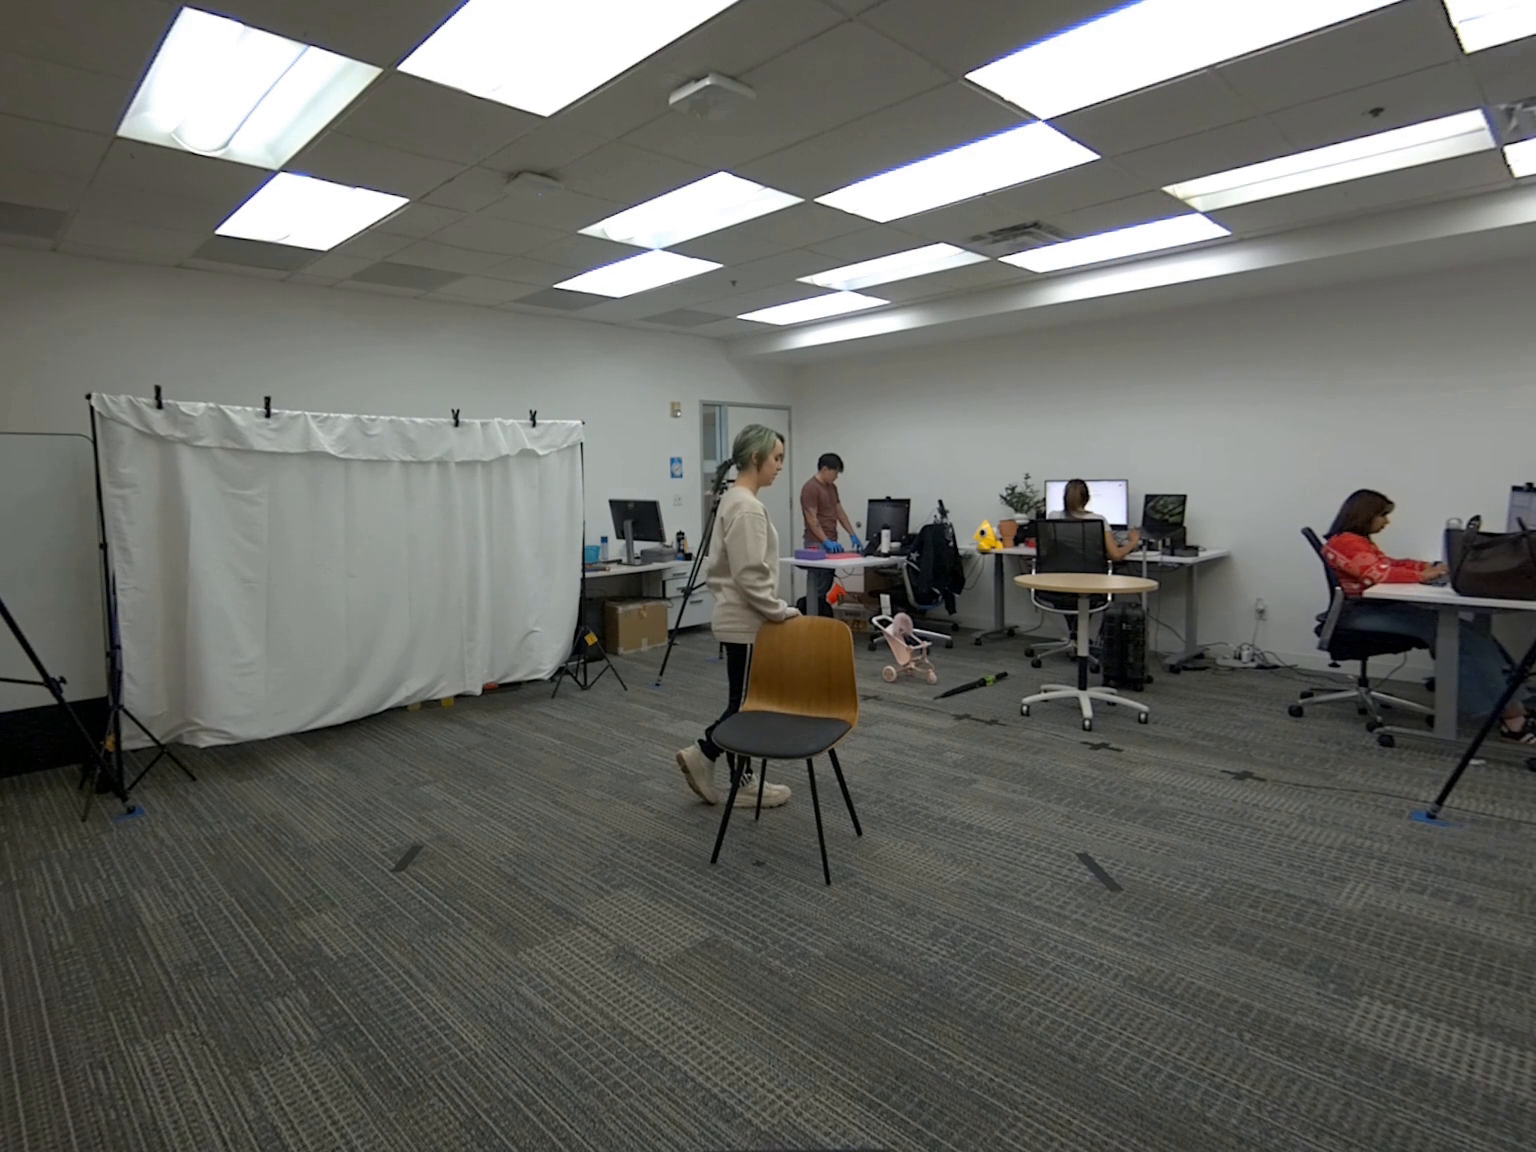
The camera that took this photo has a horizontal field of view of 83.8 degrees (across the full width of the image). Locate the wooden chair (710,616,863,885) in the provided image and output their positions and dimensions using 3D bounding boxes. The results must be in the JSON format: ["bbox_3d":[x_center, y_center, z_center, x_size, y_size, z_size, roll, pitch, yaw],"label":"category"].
[{"bbox_3d":[0.074,0.610,3.182,0.488,0.877,0.512,1,0,23],"label":"wooden chair"}]
